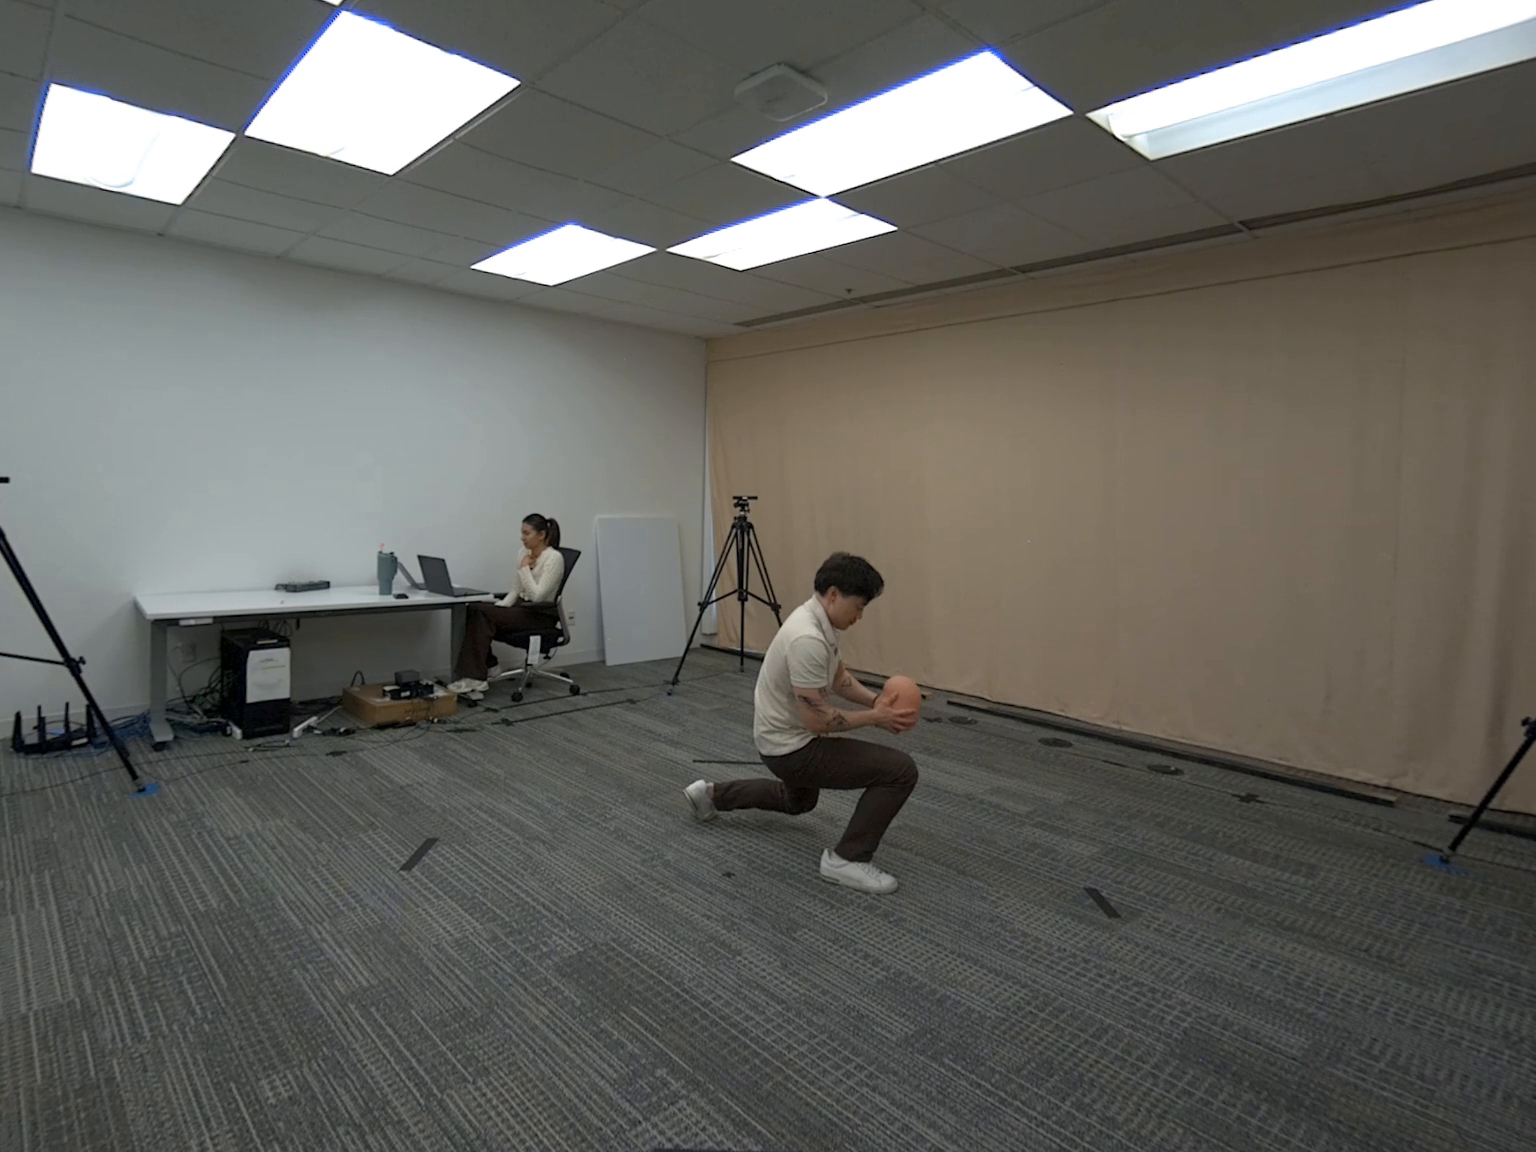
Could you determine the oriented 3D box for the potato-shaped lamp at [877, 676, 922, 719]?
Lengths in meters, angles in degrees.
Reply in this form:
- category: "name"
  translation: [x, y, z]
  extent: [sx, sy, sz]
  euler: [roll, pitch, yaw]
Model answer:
- category: "potato-shaped lamp"
  translation: [0.469, 0.461, 3.124]
  extent: [0.174, 0.197, 0.162]
  euler: [7, 6, 20]
